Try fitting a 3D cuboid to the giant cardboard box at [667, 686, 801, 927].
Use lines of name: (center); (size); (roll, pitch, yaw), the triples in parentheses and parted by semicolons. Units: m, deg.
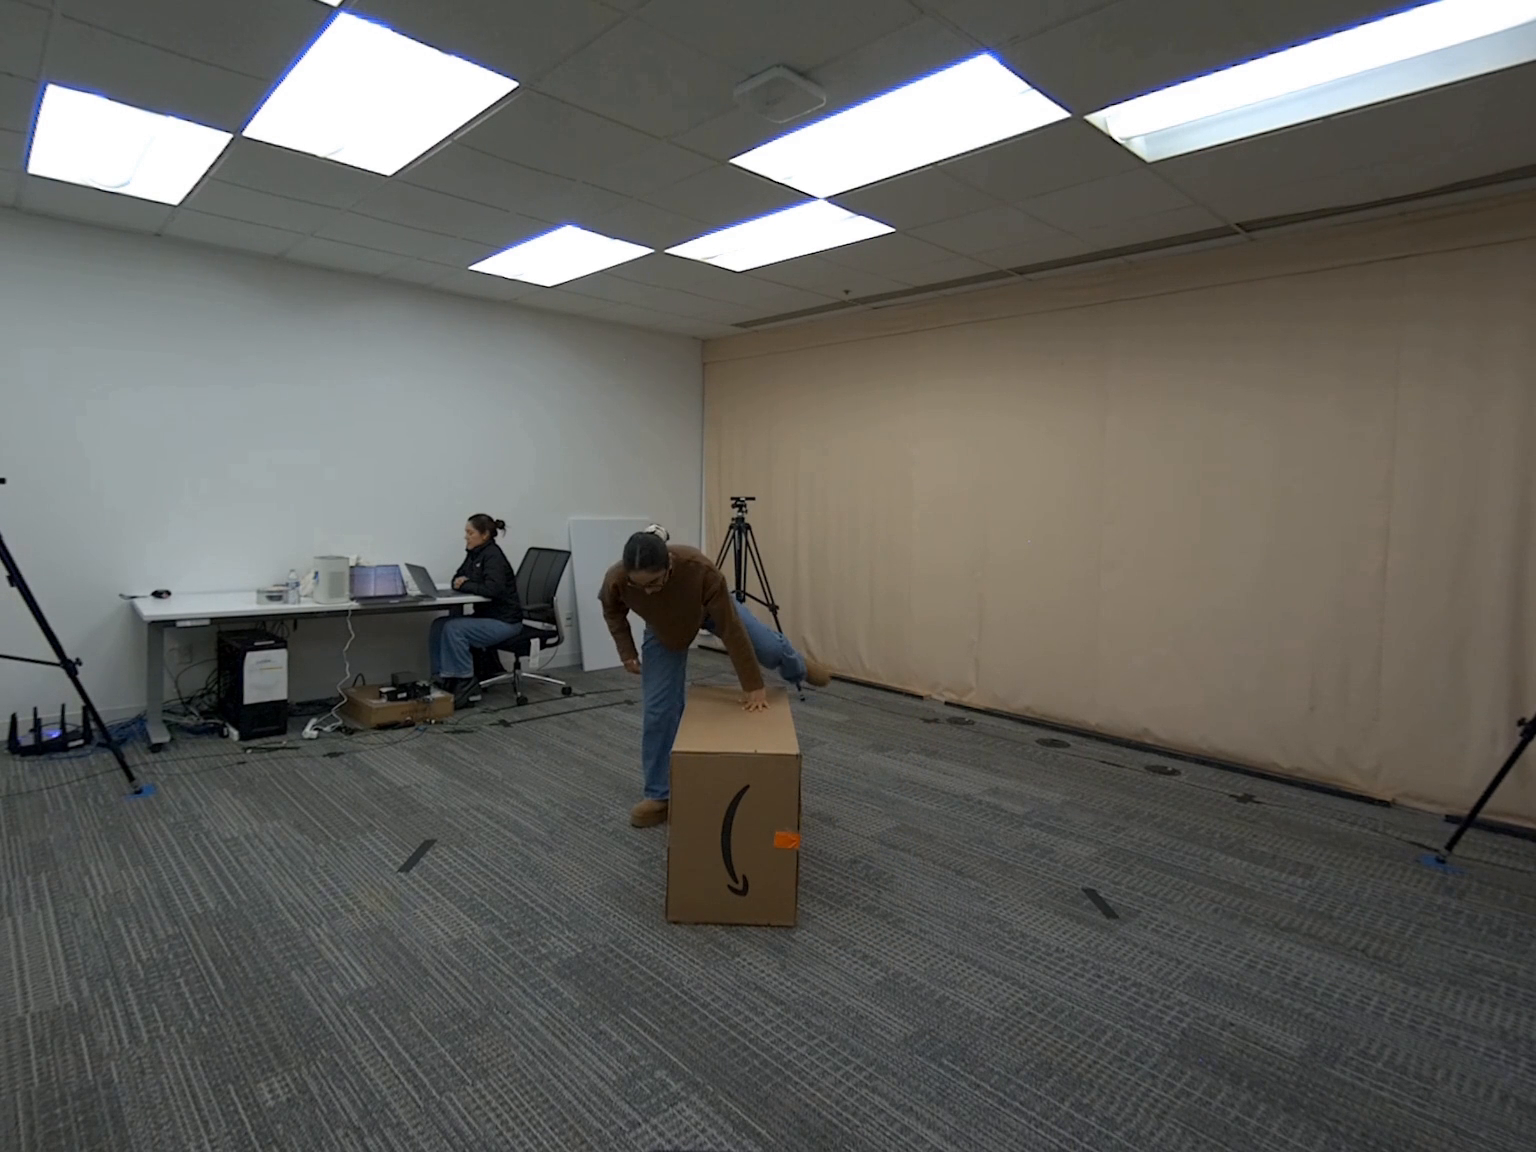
giant cardboard box: (-0.127, 0.813, 3.230); (0.447, 0.582, 1.029); (0, 5, 0)
